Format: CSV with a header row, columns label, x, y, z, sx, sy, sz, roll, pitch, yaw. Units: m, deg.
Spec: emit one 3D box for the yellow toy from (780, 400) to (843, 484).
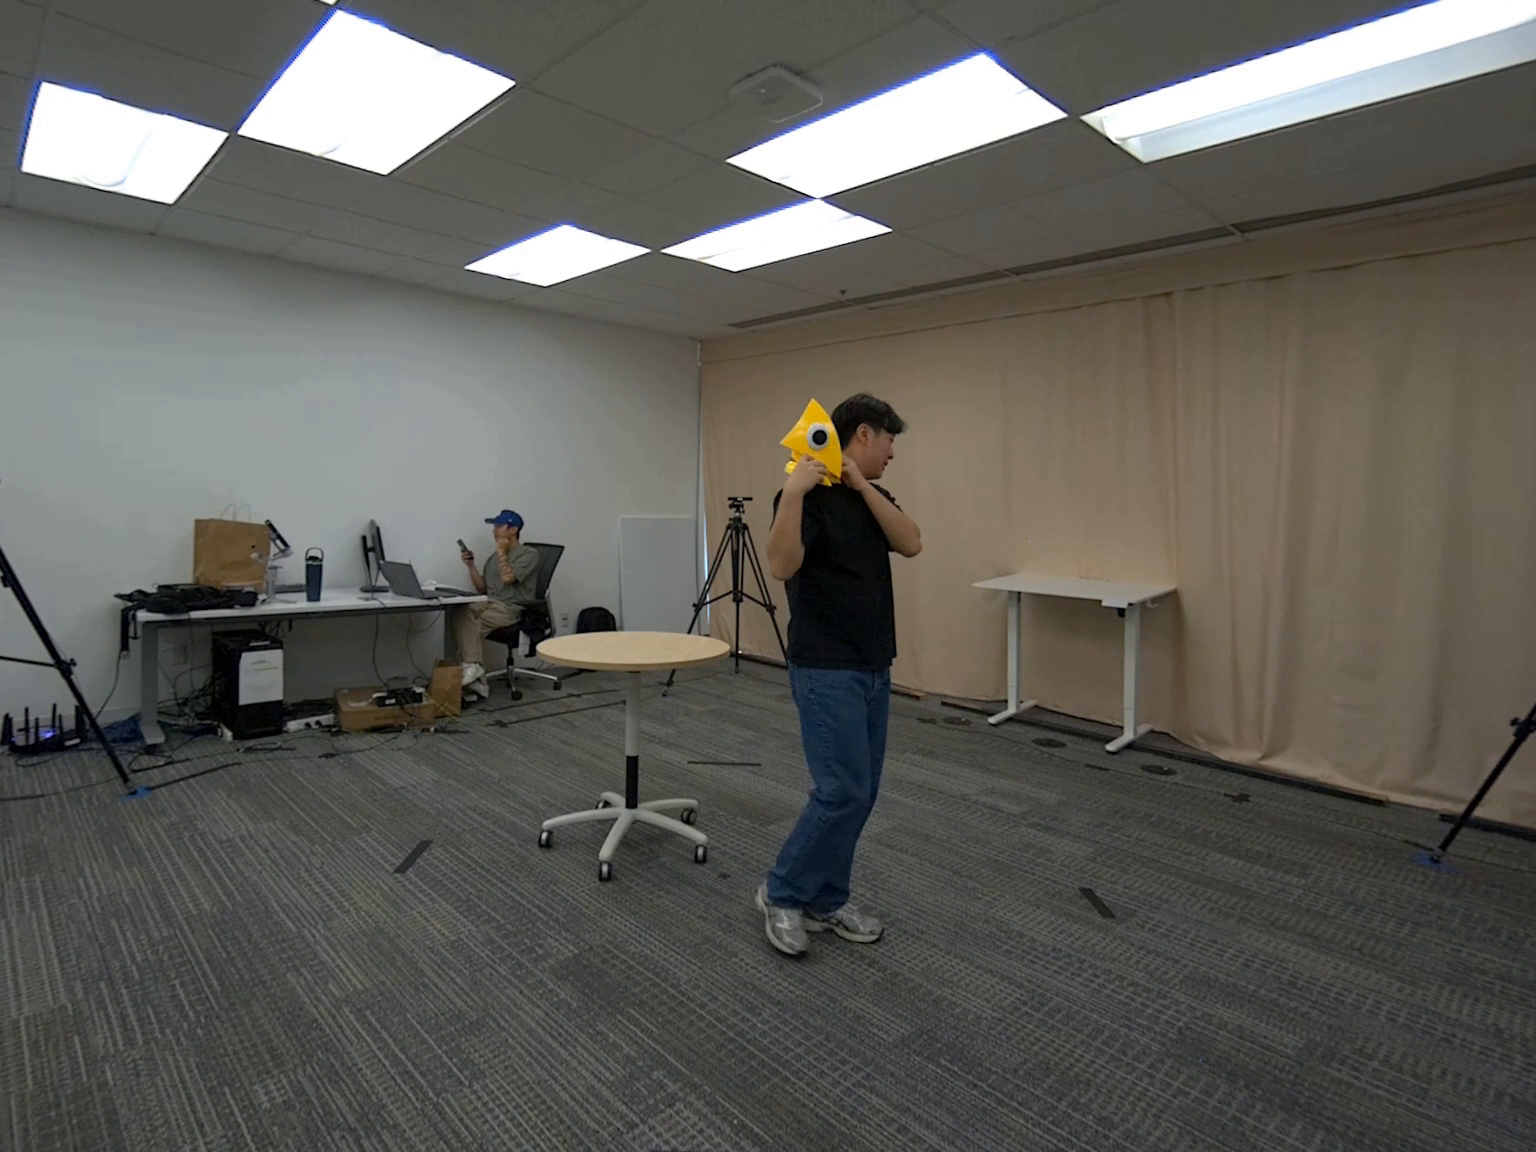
label,x,y,z,sx,sy,sz,roll,pitch,yaw
yellow toy,0.154,-0.418,2.593,0.196,0.229,0.202,21,15,17
